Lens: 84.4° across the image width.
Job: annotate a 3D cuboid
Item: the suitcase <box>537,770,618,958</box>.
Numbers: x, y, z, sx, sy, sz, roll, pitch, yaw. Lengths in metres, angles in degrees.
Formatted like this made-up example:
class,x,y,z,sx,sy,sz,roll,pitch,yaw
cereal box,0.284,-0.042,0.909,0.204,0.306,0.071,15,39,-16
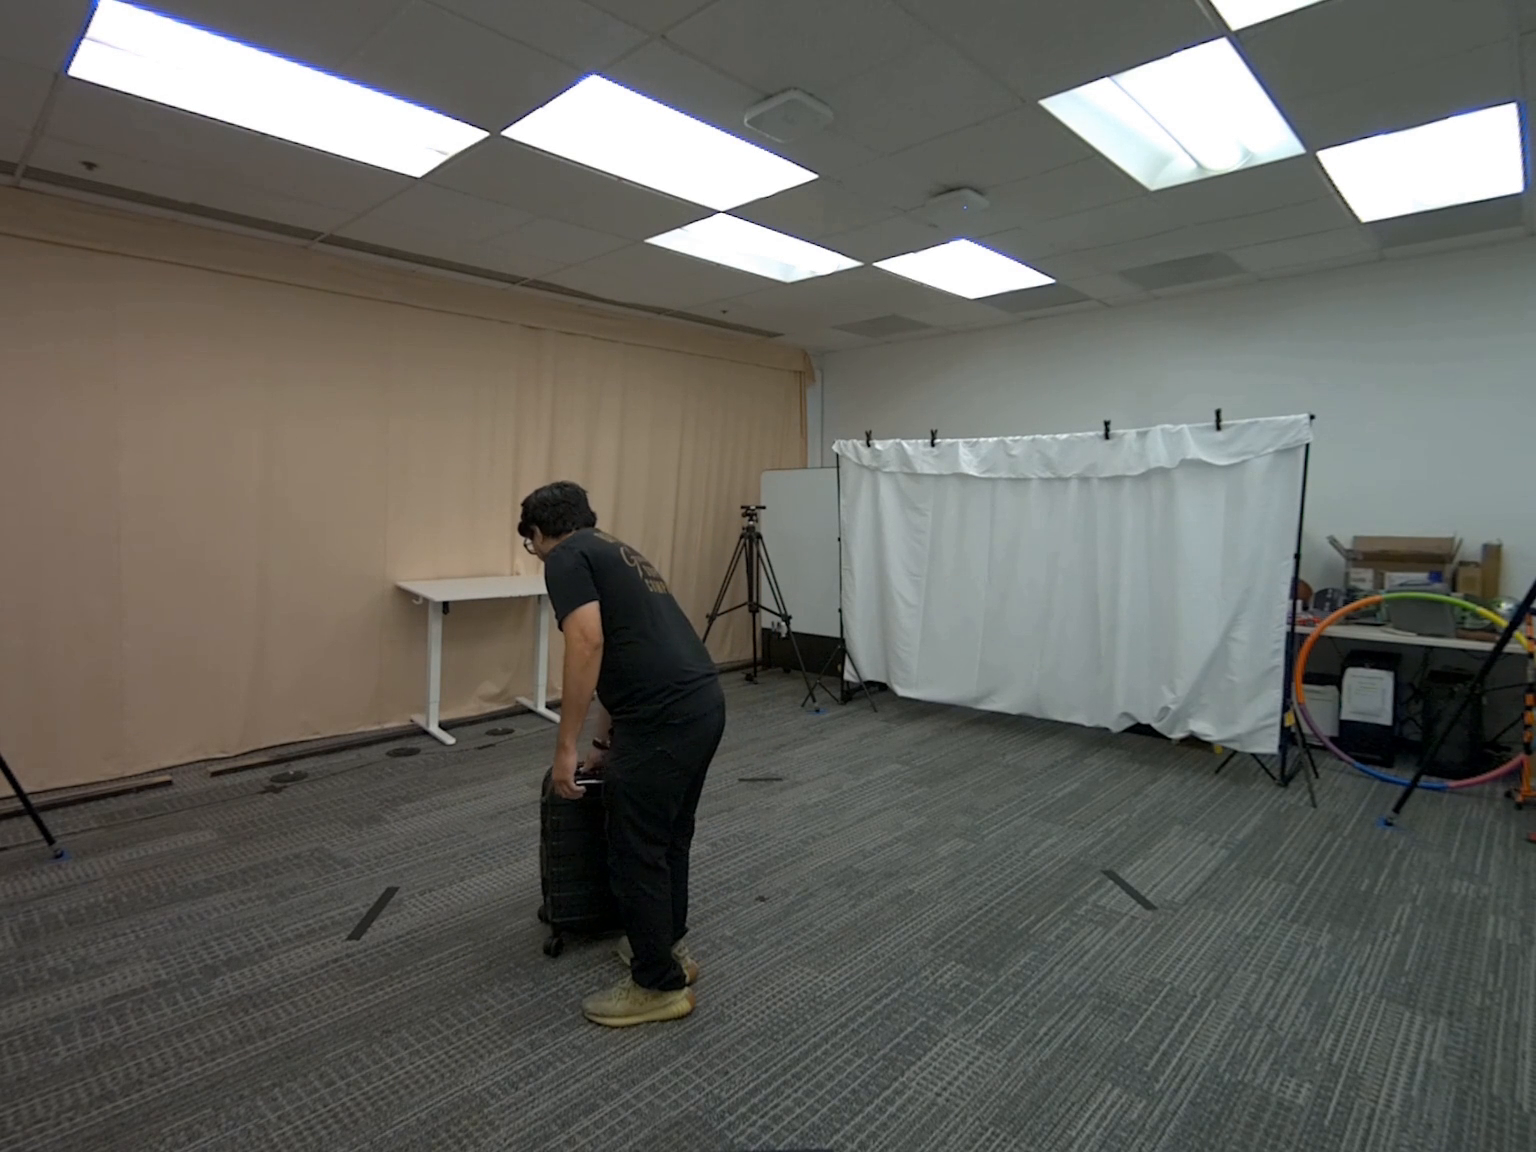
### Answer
class,x,y,z,sx,sy,sz,roll,pitch,yaw
suitcase,-0.565,0.892,2.766,0.369,0.549,0.253,0,1,-16
